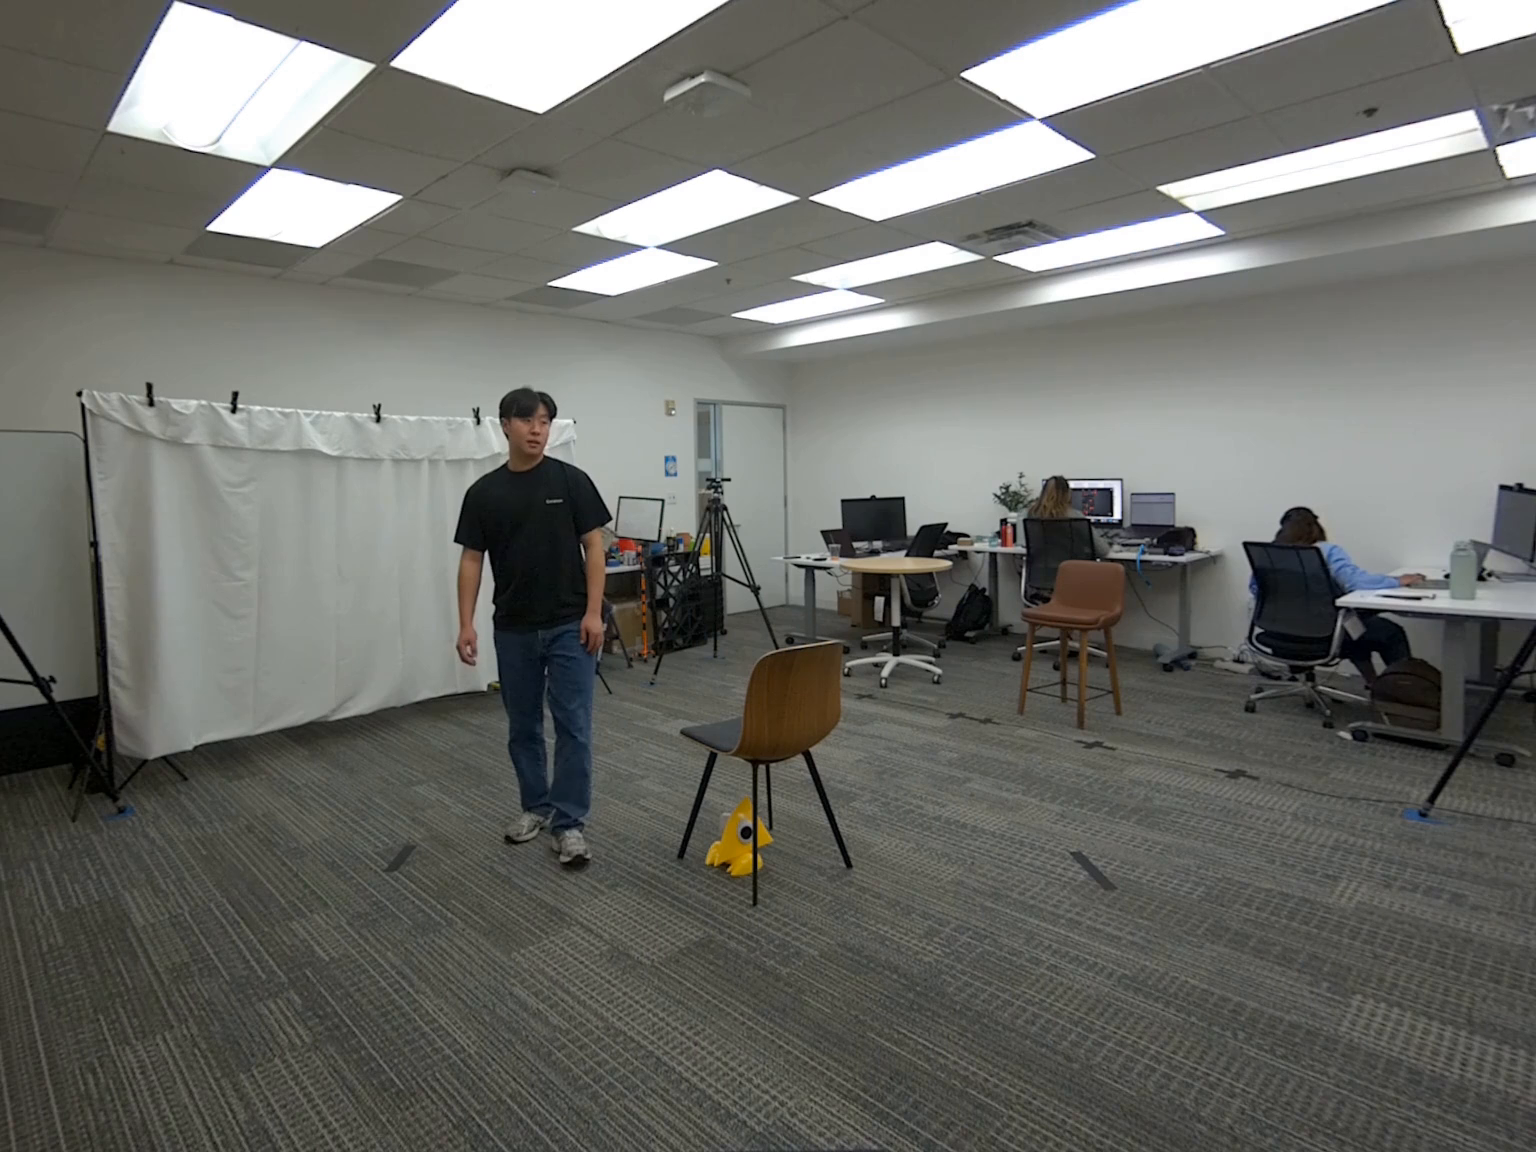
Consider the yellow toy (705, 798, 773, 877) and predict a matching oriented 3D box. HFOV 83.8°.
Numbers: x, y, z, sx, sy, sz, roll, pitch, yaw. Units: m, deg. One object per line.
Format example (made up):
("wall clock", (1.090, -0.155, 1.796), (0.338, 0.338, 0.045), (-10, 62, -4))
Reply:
("yellow toy", (-0.118, 0.925, 3.104), (0.211, 0.229, 0.188), (4, 8, 44))
